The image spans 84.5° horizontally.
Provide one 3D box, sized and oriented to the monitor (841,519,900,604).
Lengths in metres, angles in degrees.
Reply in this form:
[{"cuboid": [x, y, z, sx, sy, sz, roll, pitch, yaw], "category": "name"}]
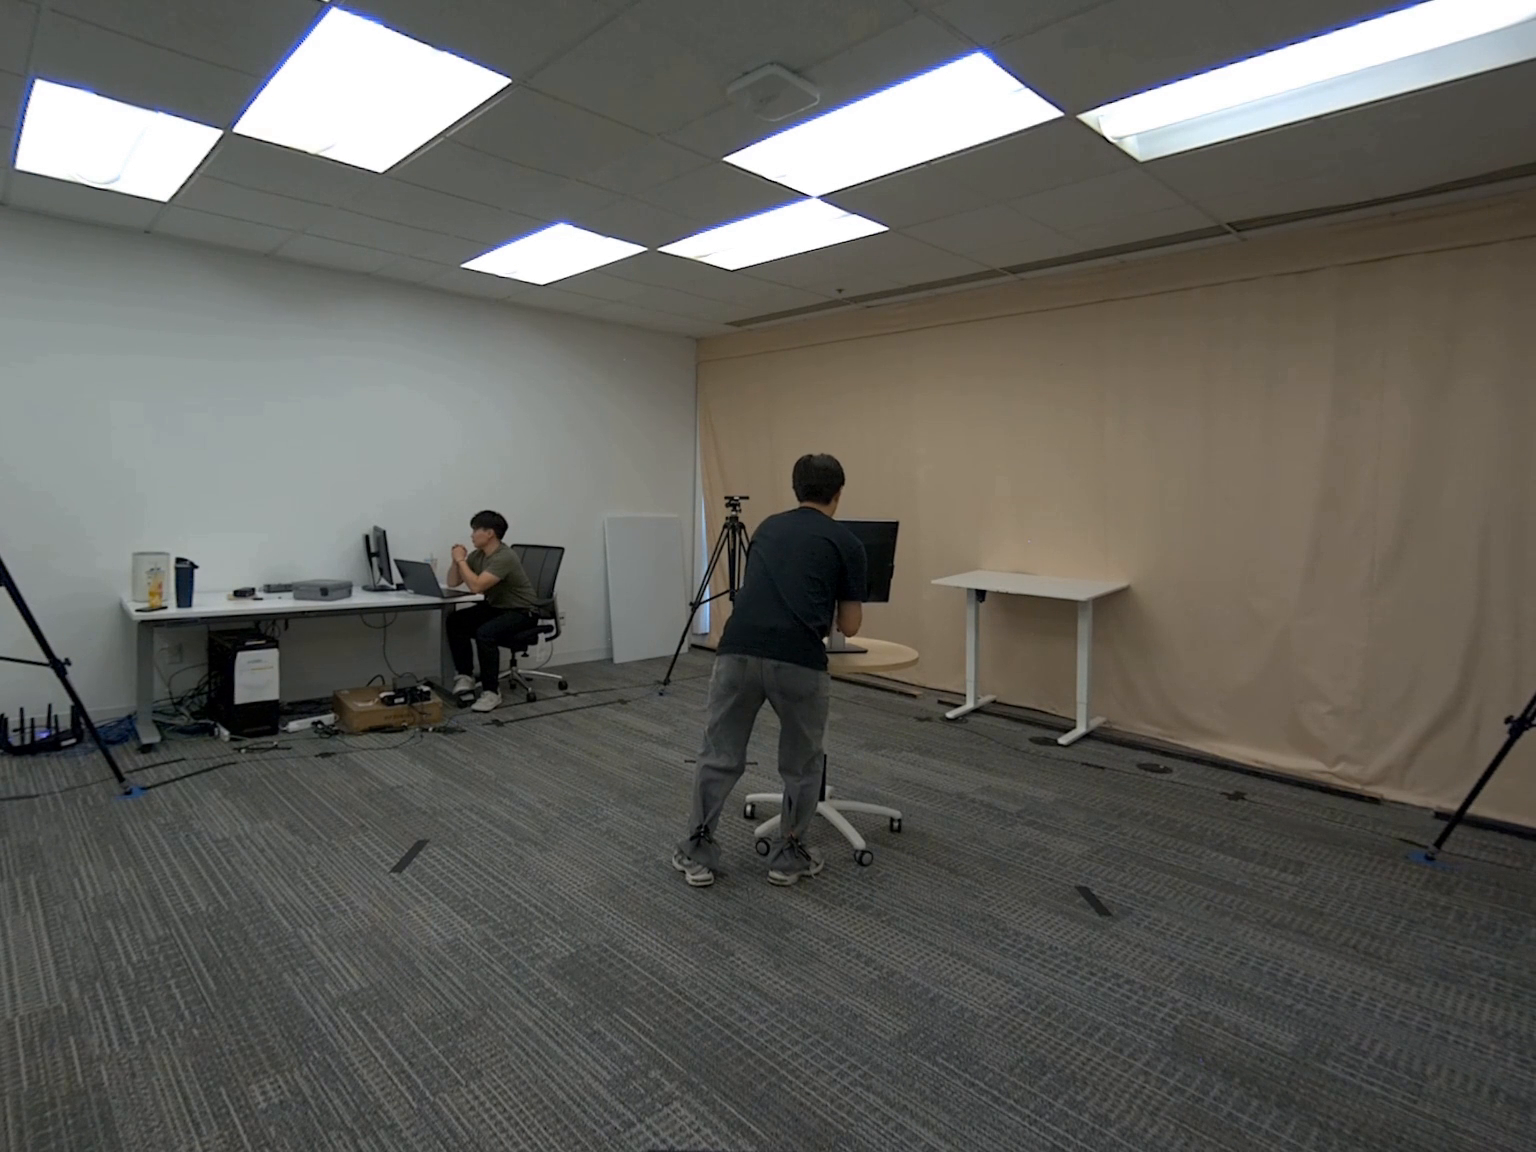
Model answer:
[{"cuboid": [0.271, 0.043, 3.457, 0.556, 0.566, 0.224, 1, 0, -12], "category": "monitor"}]
